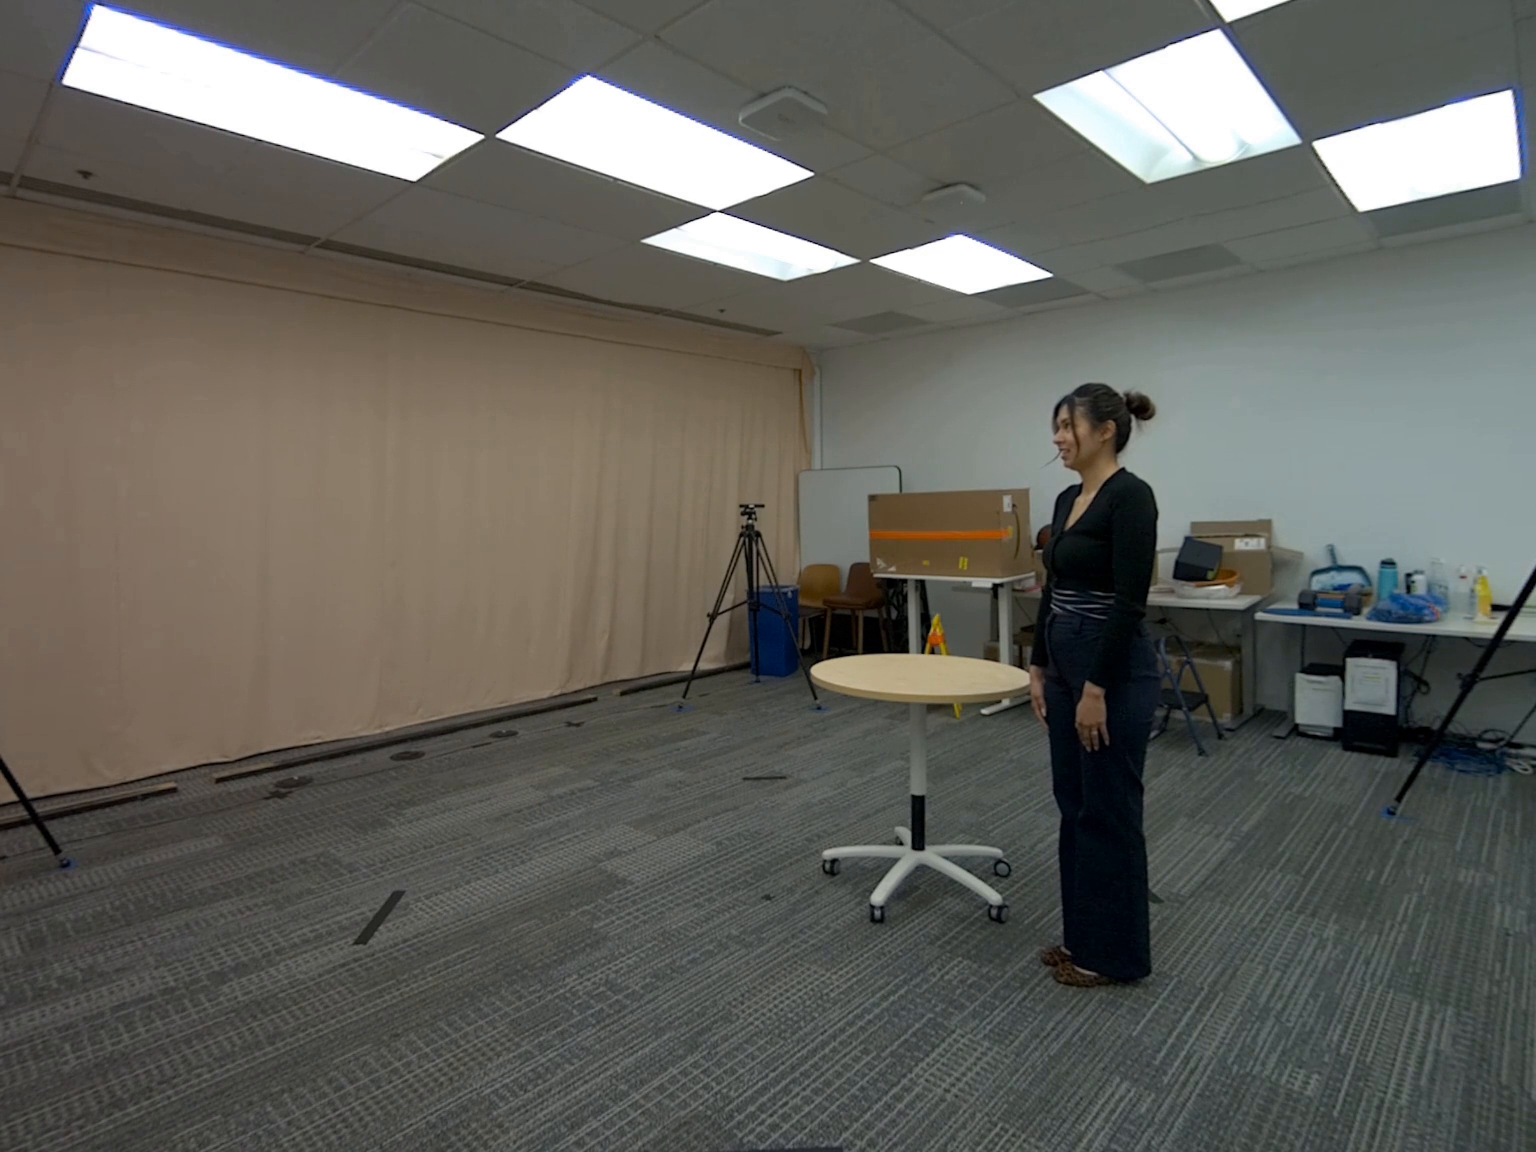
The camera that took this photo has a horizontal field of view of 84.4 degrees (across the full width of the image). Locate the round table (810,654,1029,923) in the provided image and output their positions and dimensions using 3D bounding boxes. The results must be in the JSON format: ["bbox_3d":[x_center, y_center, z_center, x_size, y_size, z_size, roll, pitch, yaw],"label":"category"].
[{"bbox_3d":[0.544,0.737,3.023,0.763,0.792,0.766,0,3,-2],"label":"round table"}]
